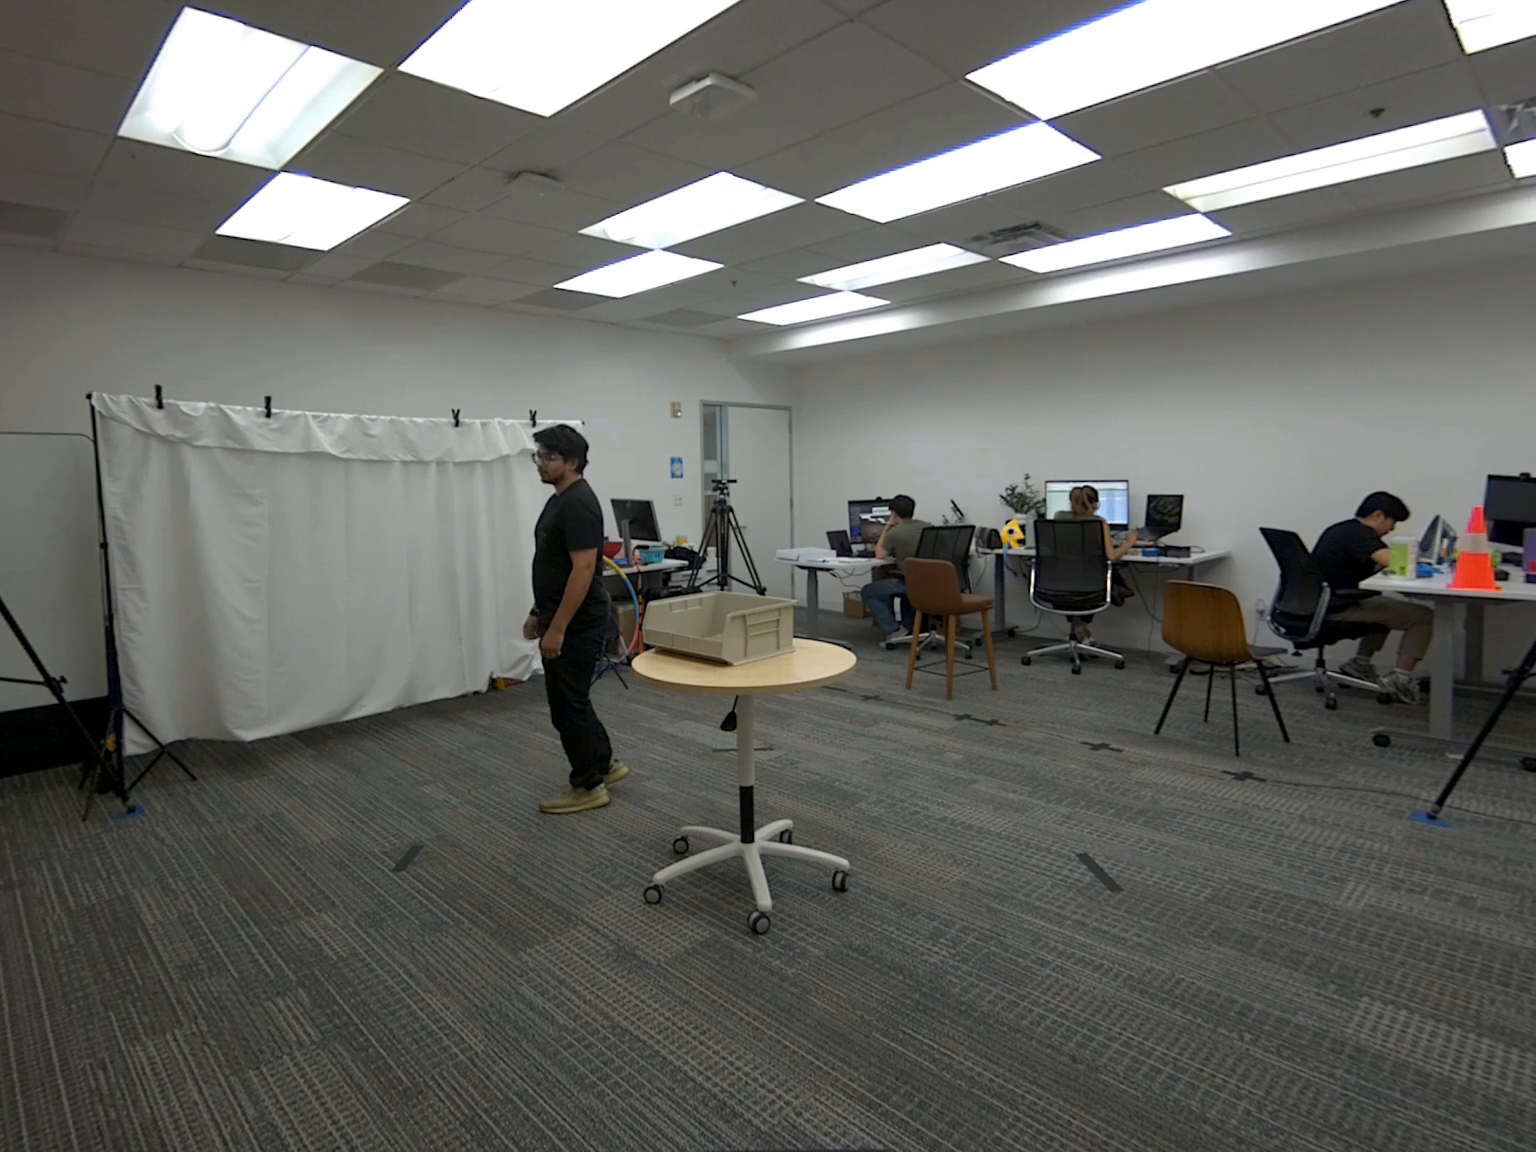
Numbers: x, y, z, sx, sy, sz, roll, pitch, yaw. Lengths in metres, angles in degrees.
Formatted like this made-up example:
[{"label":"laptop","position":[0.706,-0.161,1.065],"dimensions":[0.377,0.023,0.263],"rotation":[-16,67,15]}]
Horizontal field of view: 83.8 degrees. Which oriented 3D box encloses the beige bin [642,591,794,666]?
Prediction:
[{"label":"beige bin","position":[-0.170,0.183,3.046],"dimensions":[0.435,0.188,0.367],"rotation":[4,8,44]}]
